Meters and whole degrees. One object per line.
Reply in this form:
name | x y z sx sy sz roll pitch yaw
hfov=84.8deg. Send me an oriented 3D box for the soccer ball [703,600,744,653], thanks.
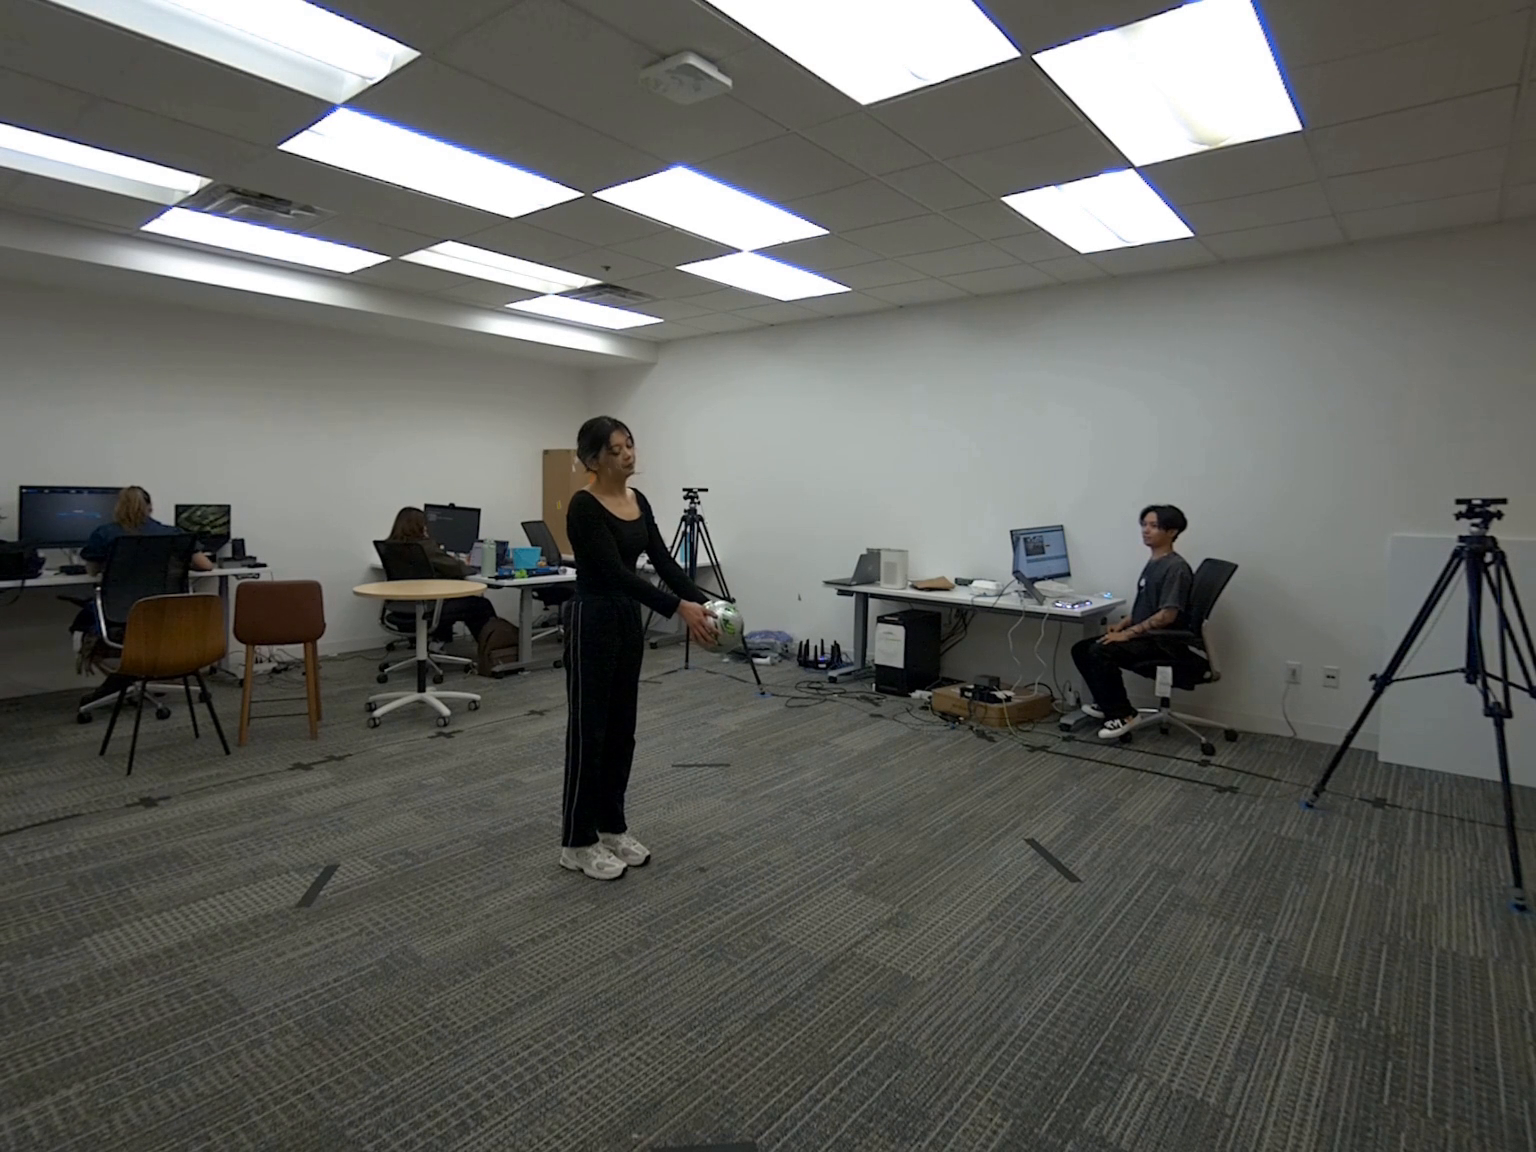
soccer ball | -0.187 0.174 2.973 0.187 0.187 0.188 1 4 -2
